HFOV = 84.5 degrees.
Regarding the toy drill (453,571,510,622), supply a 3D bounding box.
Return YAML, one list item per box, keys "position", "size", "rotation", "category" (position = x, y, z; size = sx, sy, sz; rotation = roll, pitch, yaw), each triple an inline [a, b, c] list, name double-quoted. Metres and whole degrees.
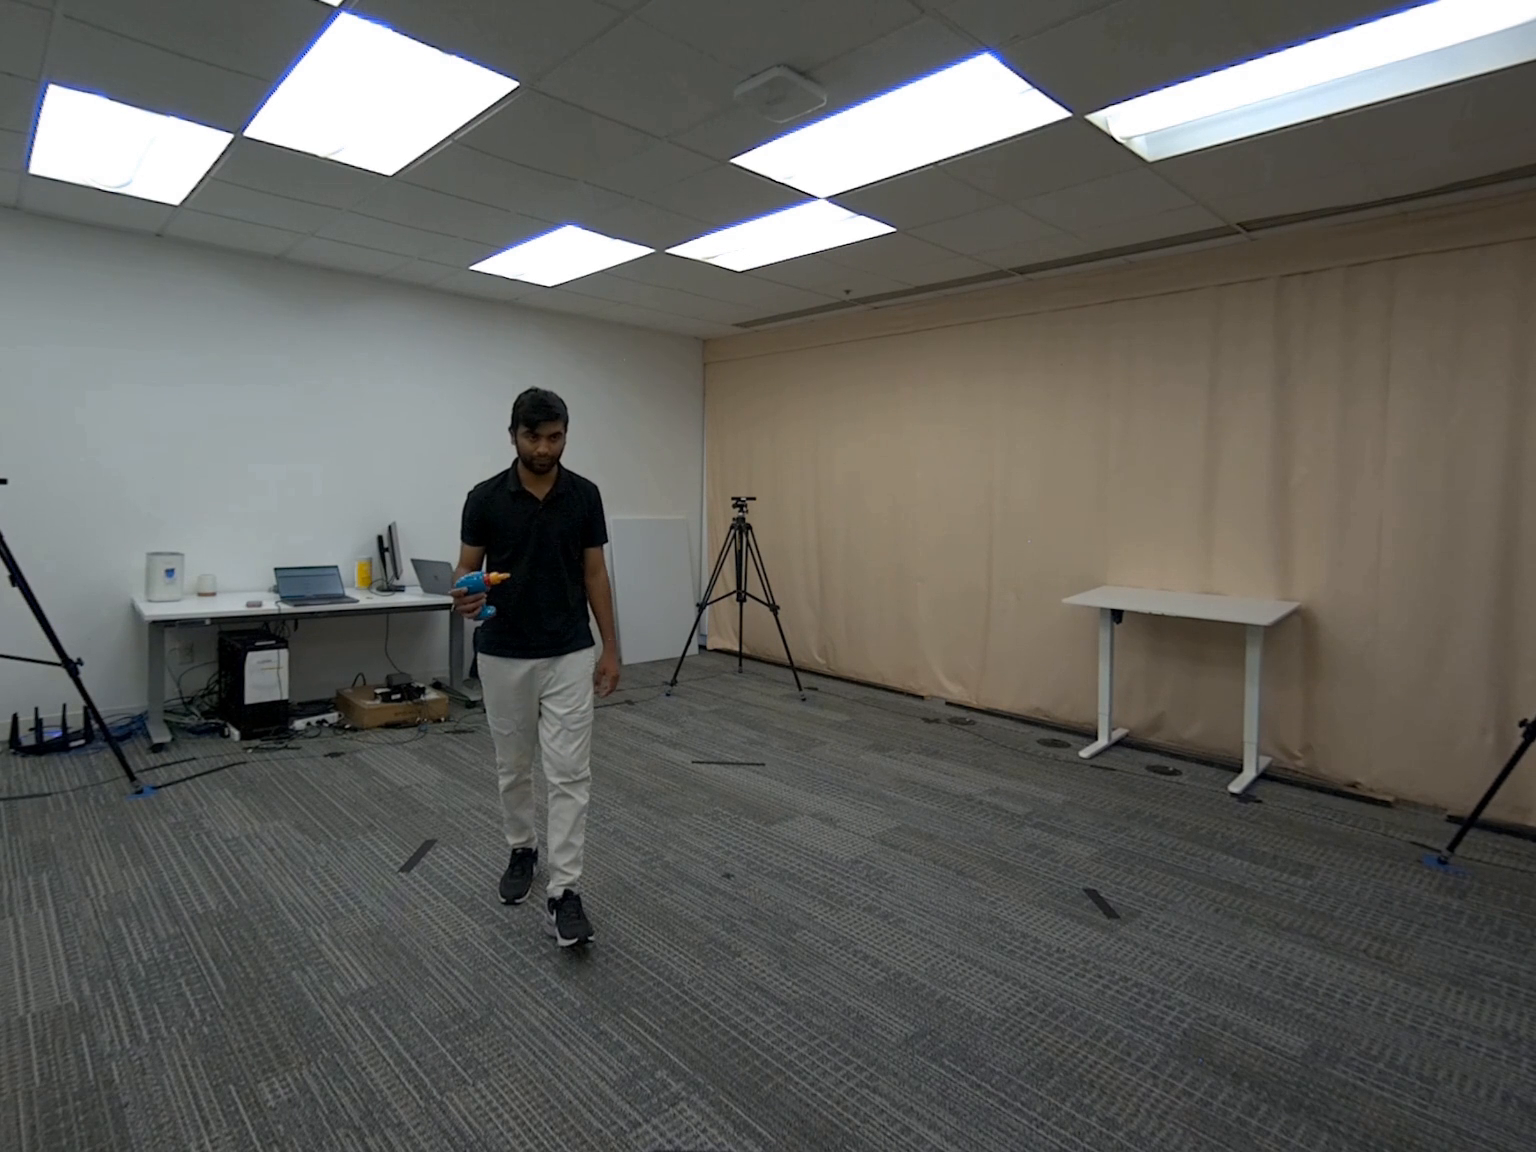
- position: [-0.819, 0.043, 2.457]
  size: [0.170, 0.142, 0.062]
  rotation: [-18, 28, 4]
  category: "toy drill"
